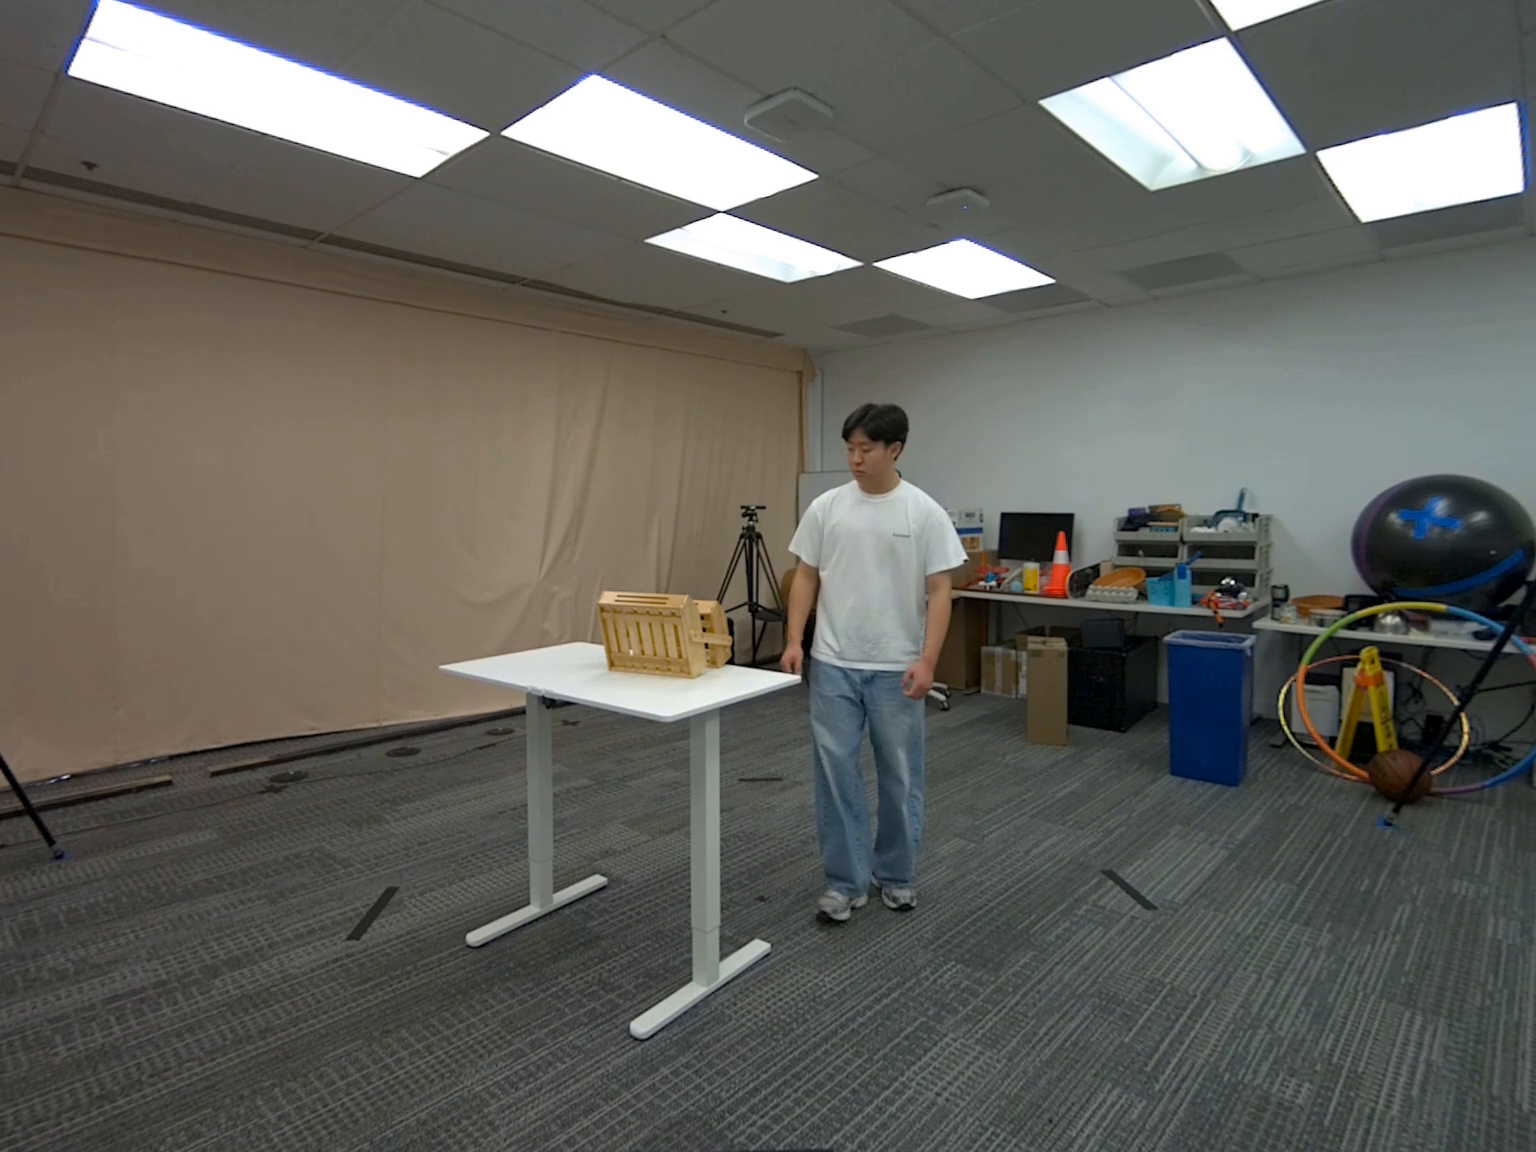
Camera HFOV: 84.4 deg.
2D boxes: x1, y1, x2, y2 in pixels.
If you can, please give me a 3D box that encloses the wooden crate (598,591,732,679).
[{"bbox_3d":[-0.323,0.159,2.633,0.332,0.298,0.270,2,21,24],"label":"wooden crate"}]
